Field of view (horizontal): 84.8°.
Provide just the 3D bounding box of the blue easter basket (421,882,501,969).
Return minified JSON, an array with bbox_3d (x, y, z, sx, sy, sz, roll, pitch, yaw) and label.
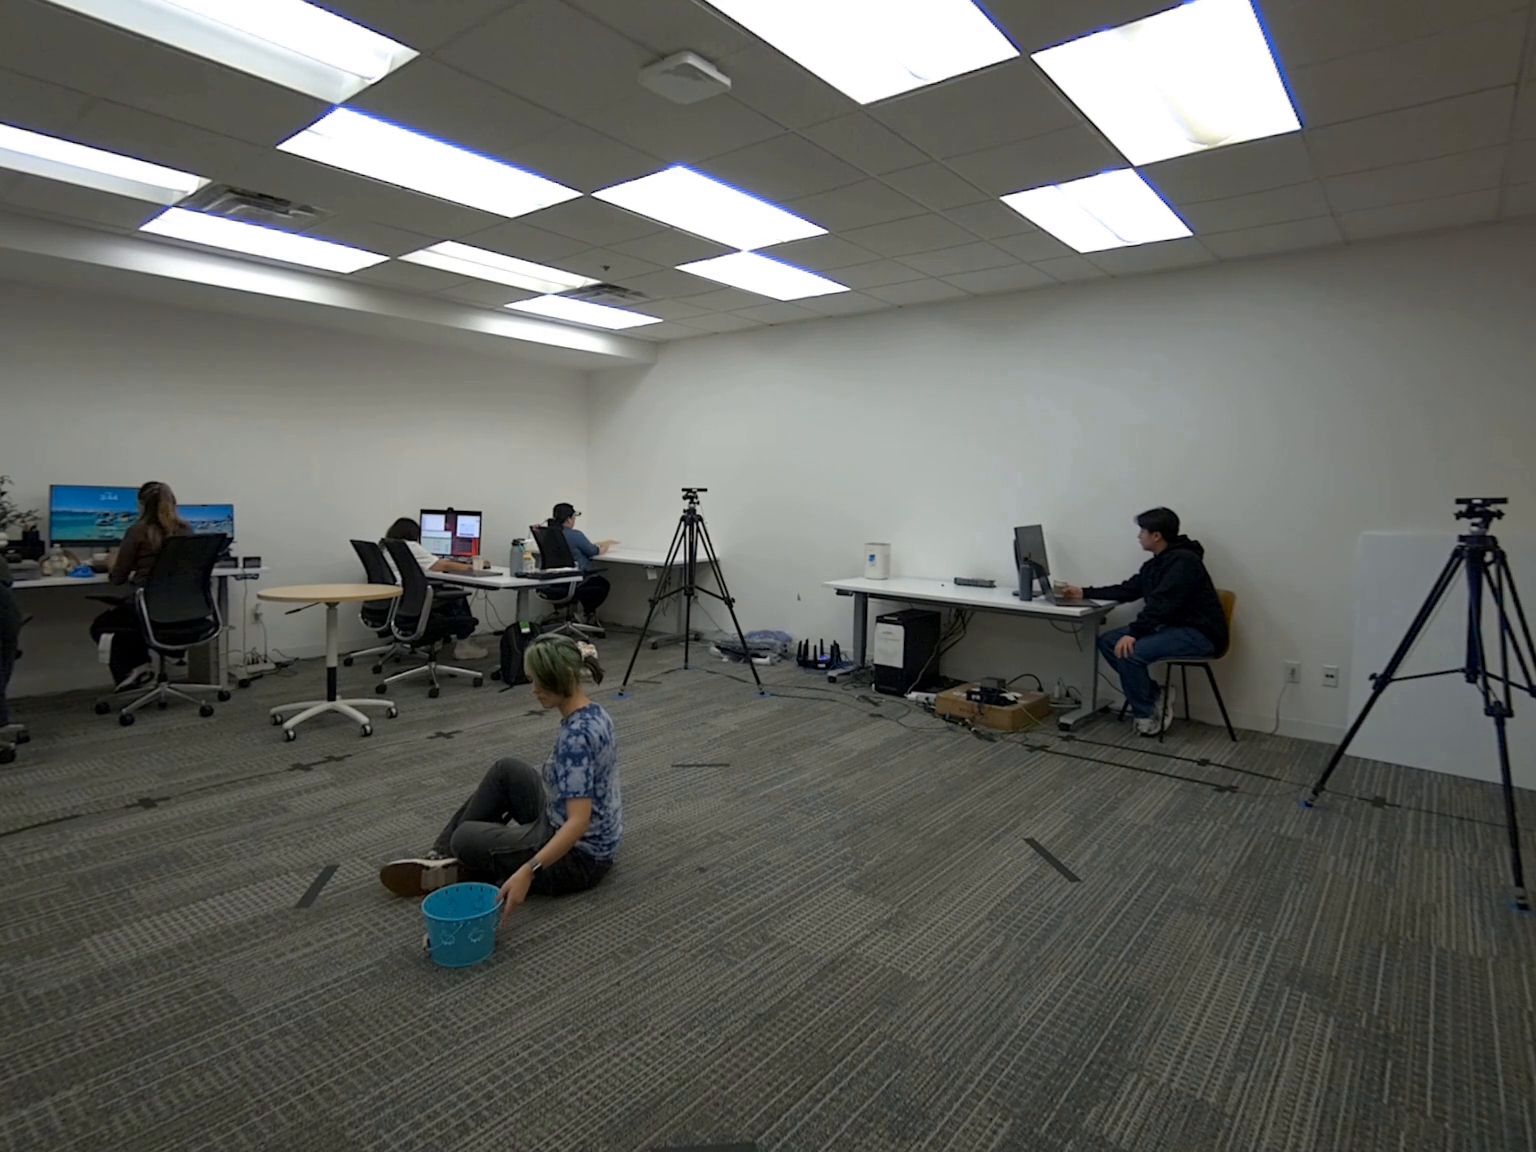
[{"bbox_3d":[-0.930,1.040,2.542,0.243,0.155,0.245,1,5,-2],"label":"blue easter basket"}]
